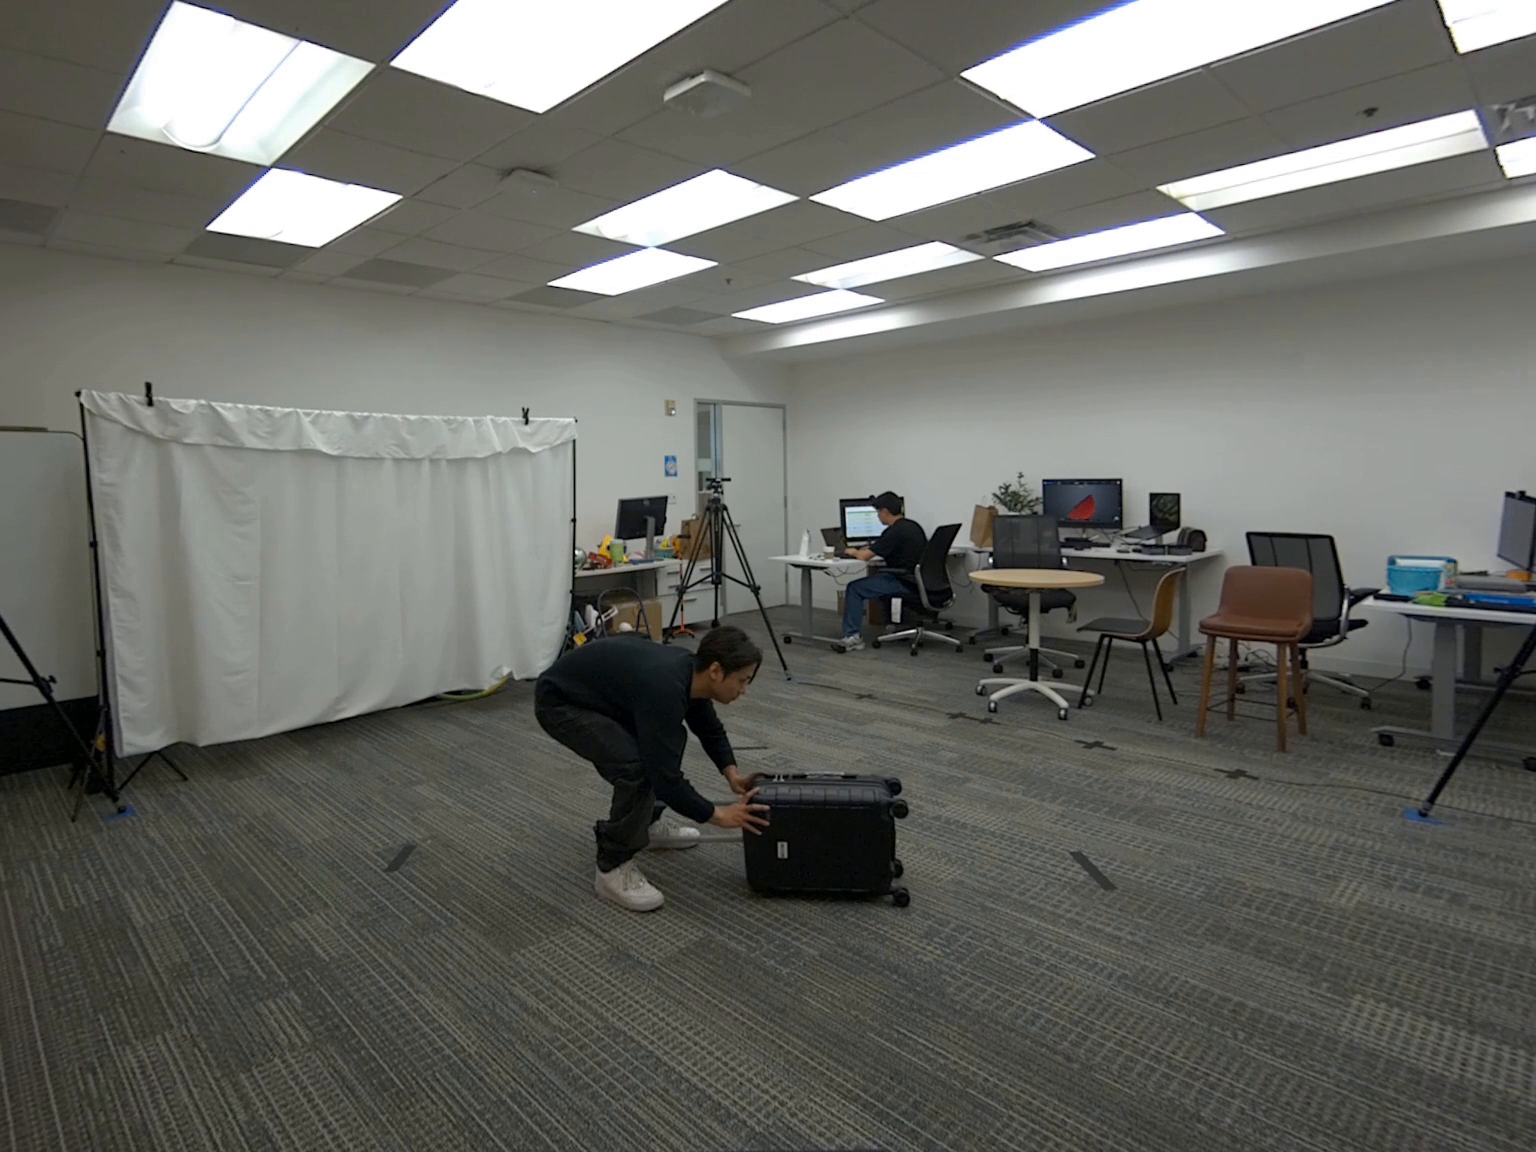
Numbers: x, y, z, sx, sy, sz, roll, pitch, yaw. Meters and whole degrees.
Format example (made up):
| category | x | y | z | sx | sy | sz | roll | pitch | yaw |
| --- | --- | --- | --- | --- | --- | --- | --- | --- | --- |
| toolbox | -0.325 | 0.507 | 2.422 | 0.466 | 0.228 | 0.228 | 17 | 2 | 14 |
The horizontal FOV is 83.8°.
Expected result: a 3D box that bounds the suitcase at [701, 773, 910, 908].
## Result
| category | x | y | z | sx | sy | sz | roll | pitch | yaw |
| --- | --- | --- | --- | --- | --- | --- | --- | --- | --- |
| suitcase | -0.021 | 0.875 | 2.919 | 0.984 | 0.383 | 0.256 | 1 | 3 | 5 |
